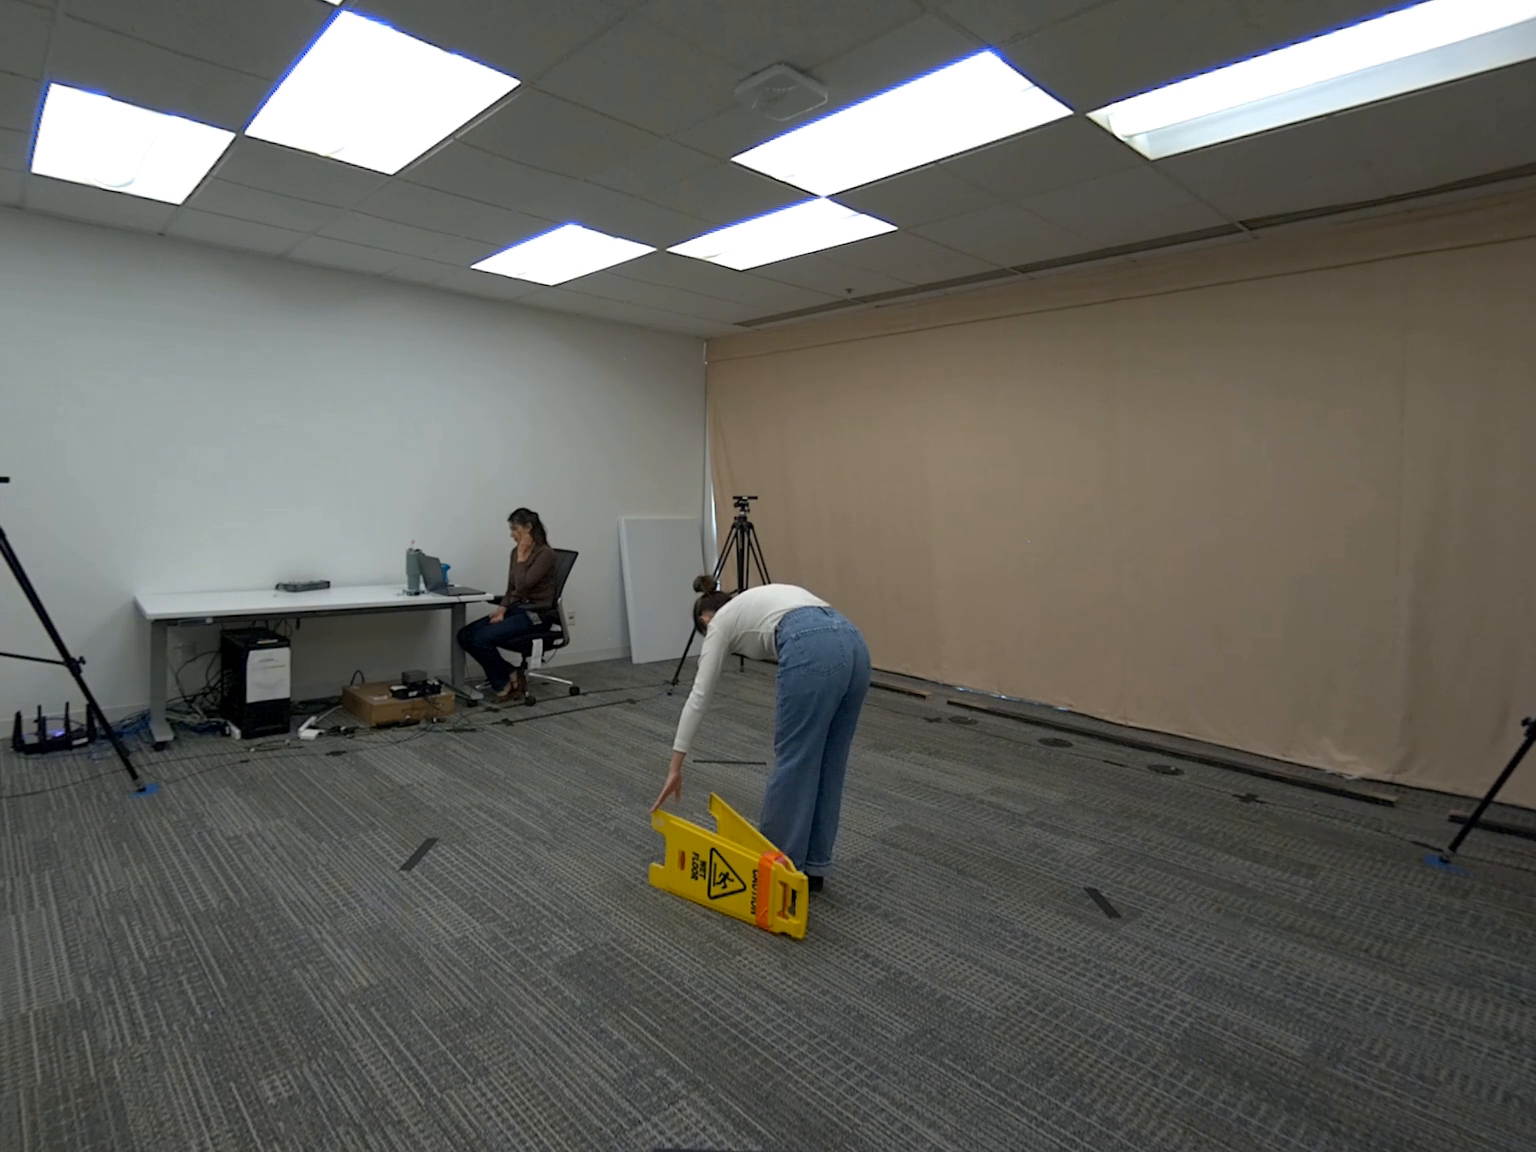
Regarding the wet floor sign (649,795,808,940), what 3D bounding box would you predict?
[{"bbox_3d":[-0.105,0.996,2.855,0.283,0.281,0.663,-3,8,-41],"label":"wet floor sign"}]
